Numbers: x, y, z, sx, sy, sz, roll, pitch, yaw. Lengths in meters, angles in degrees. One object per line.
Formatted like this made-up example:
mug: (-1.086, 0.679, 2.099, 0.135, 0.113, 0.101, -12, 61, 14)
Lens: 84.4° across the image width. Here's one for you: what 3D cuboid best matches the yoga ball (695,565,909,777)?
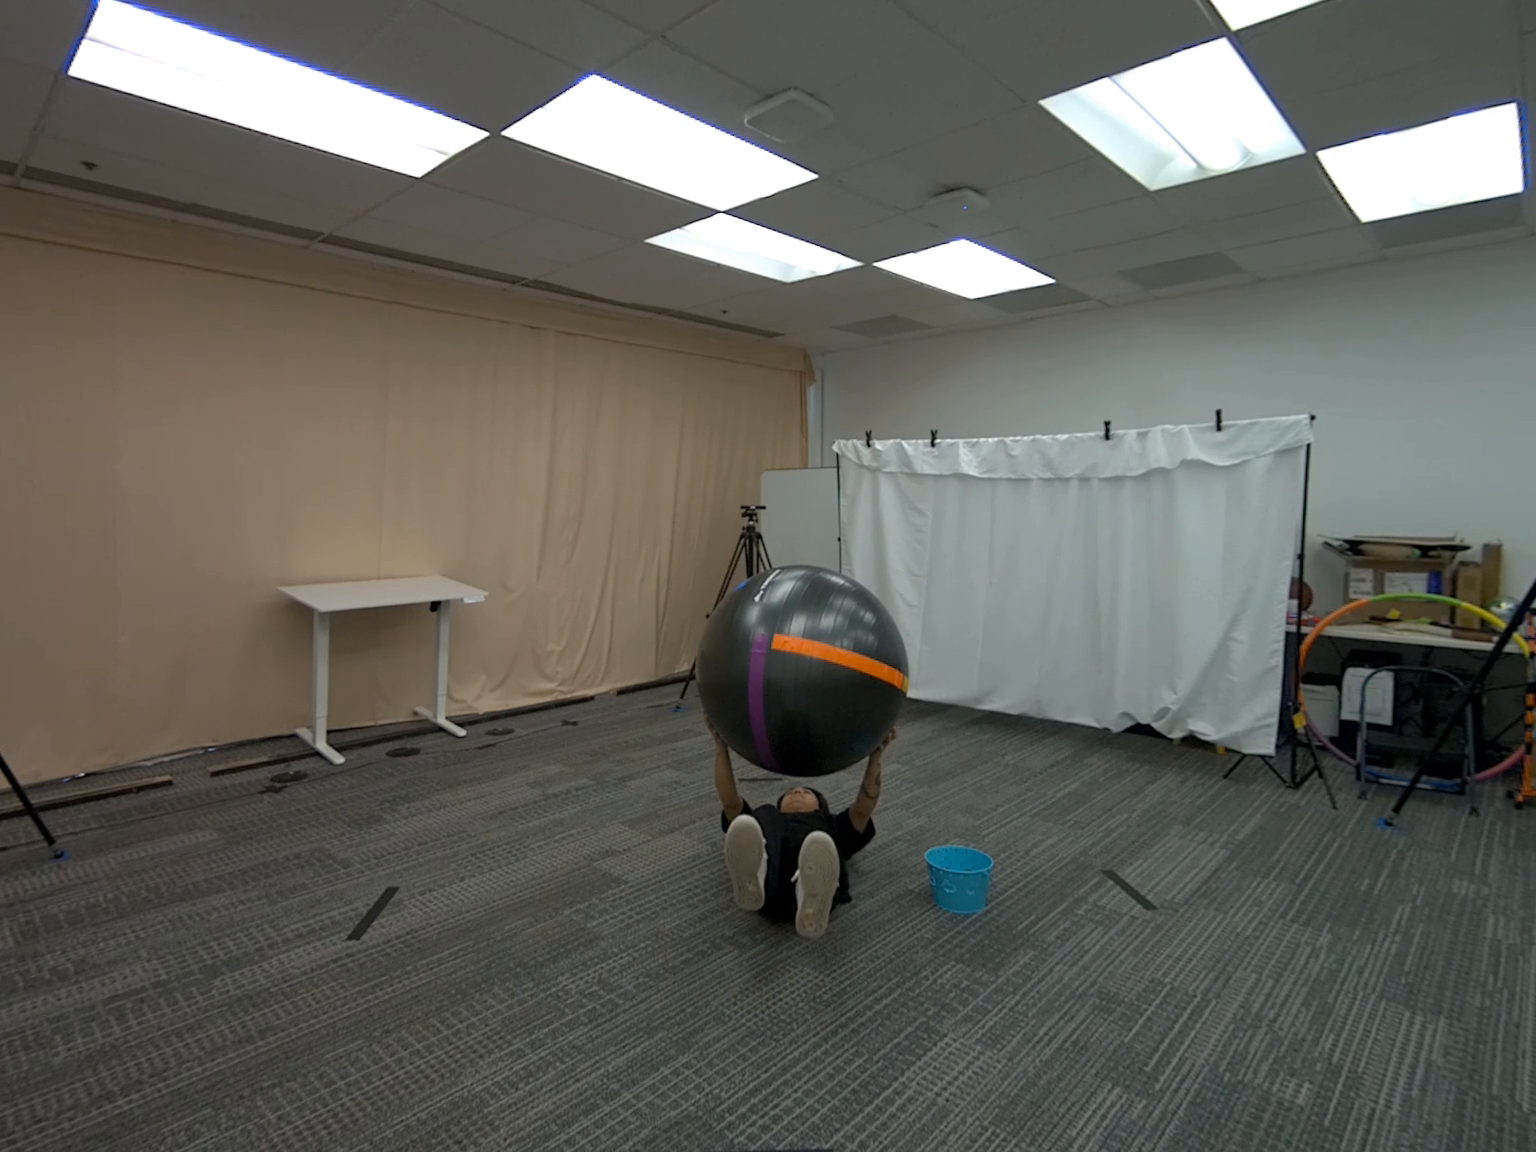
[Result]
yoga ball: (0.118, 0.345, 3.059, 0.757, 0.756, 0.760, 0, 4, -2)
